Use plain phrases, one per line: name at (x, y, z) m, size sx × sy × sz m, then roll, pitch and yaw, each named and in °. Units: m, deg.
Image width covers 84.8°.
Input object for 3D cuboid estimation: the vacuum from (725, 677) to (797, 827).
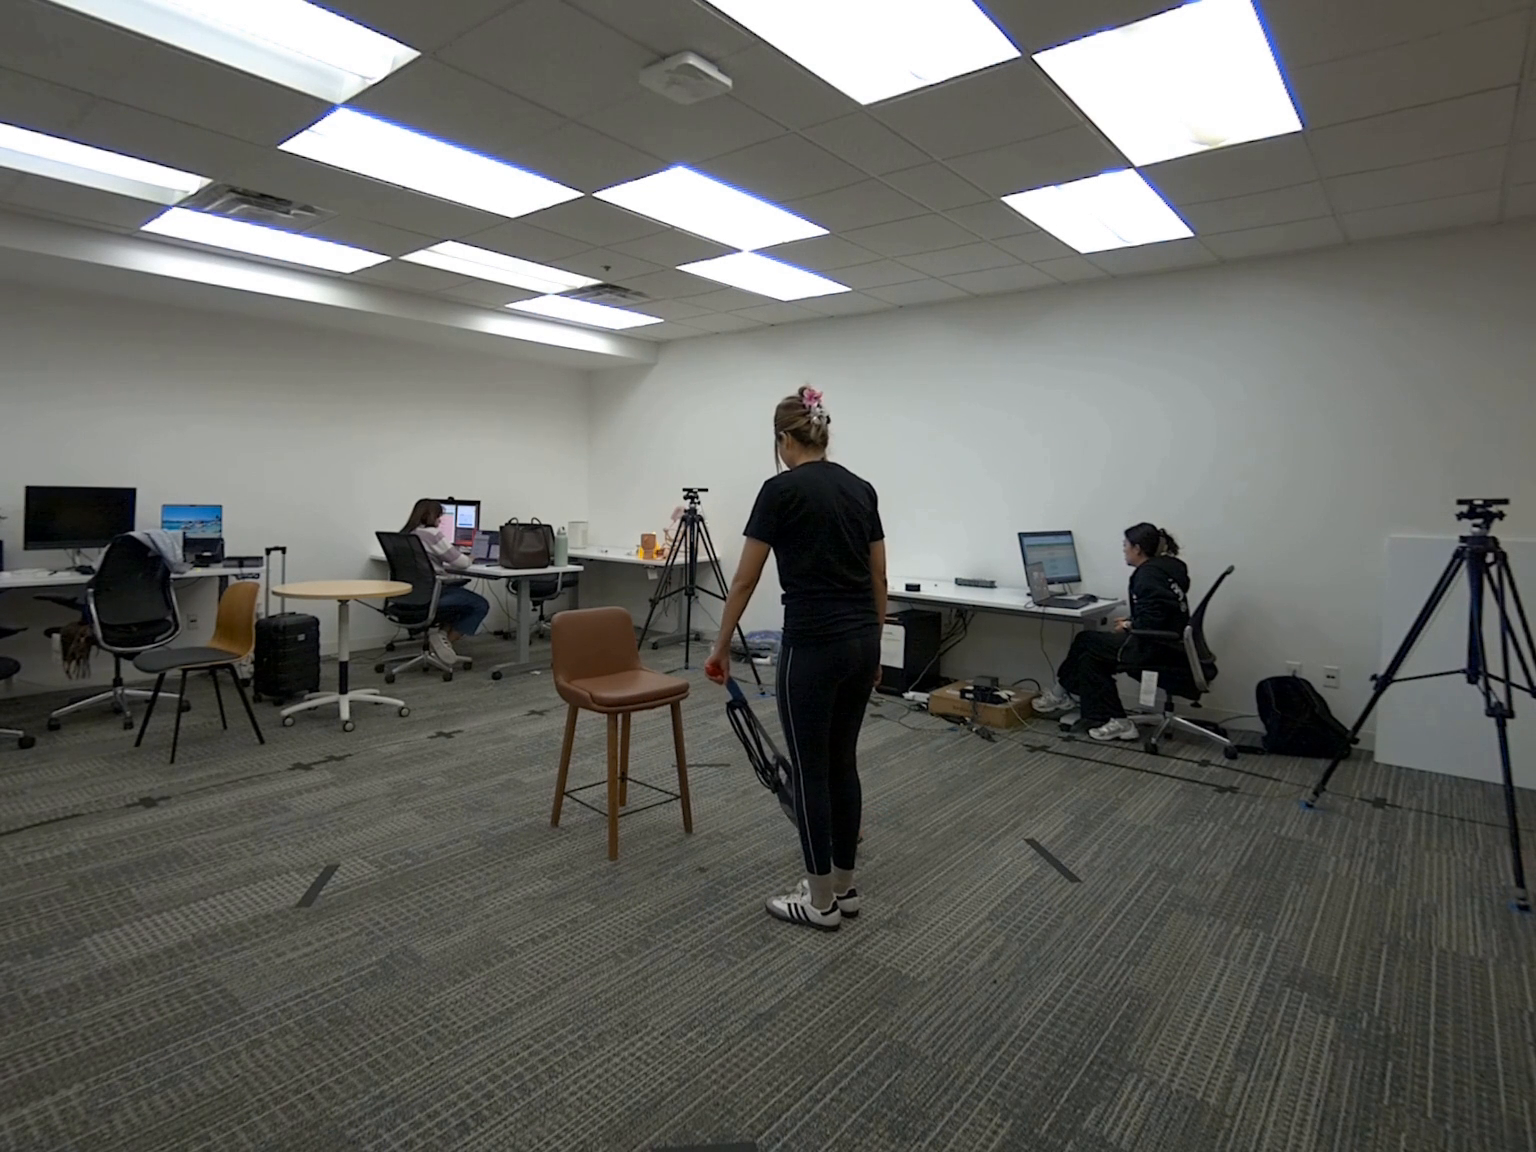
vacuum at (-0.002, 0.672, 3.039) m, size 0.260 × 1.010 × 0.145 m, roll 0°, pitch 46°, yaw 40°
